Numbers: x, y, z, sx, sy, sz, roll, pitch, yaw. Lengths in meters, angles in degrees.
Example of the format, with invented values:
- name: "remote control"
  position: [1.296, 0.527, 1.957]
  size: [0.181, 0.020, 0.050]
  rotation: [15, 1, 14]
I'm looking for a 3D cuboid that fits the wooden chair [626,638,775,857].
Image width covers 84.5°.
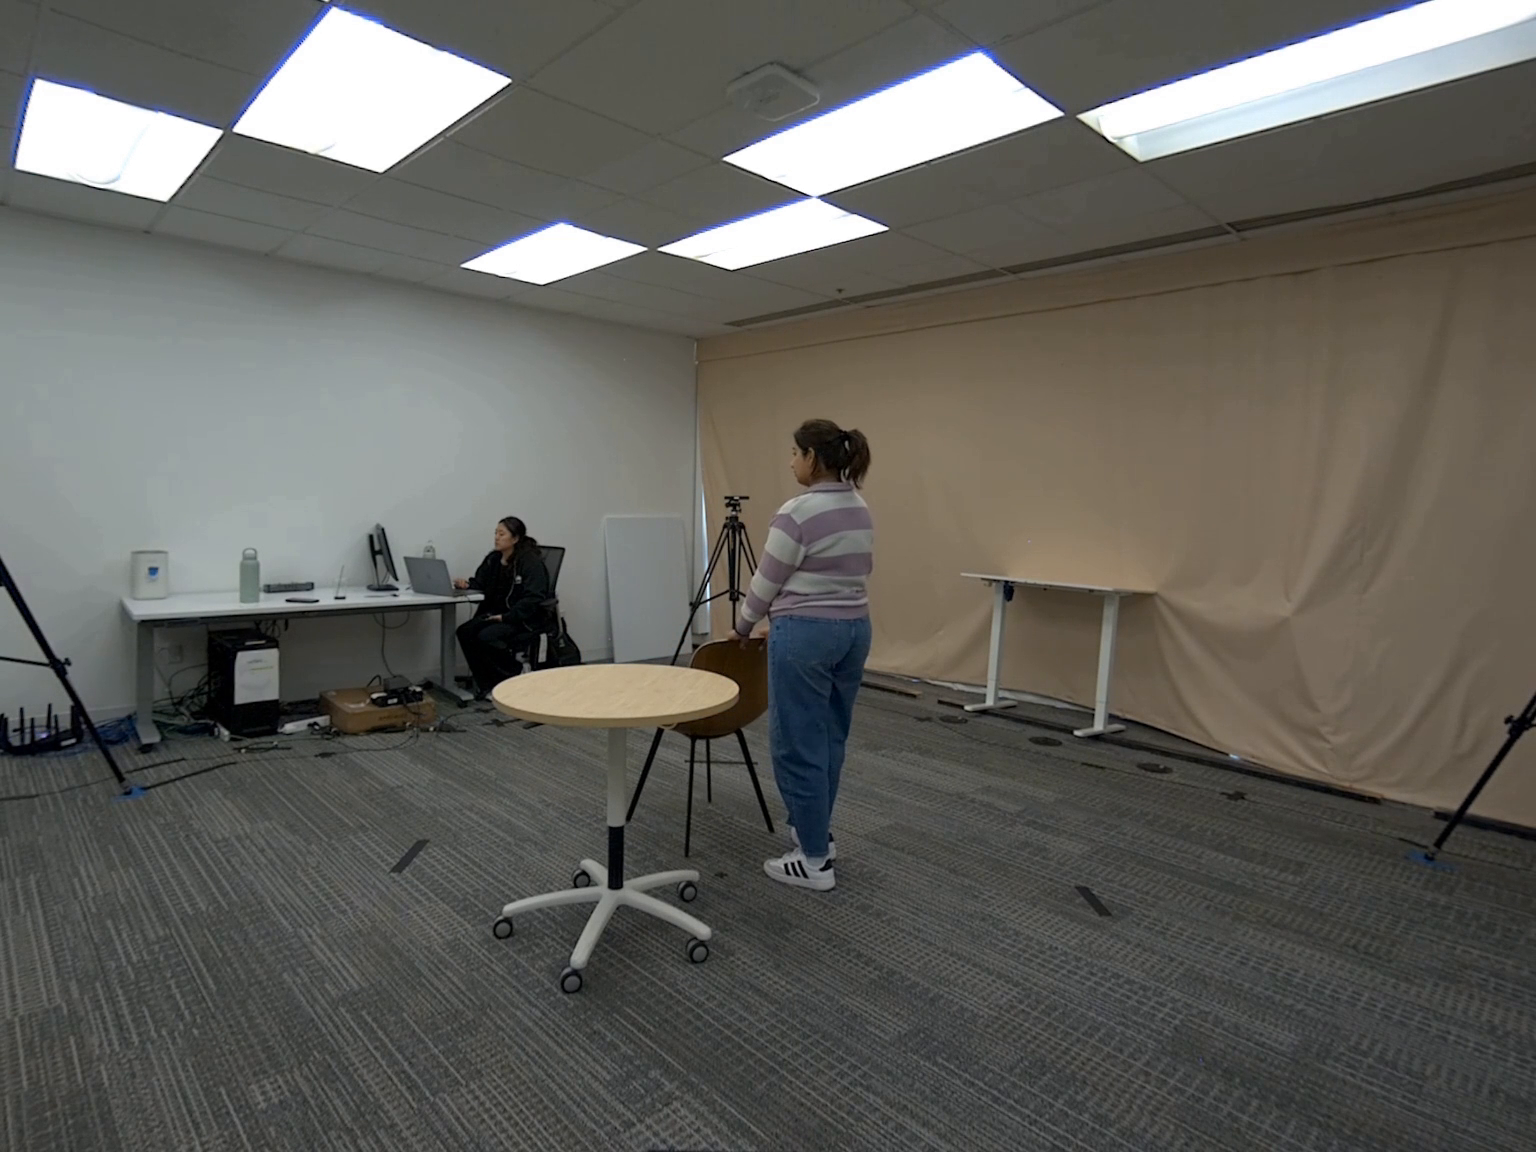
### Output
- name: "wooden chair"
  position: [-0.285, 0.633, 3.534]
  size: [0.467, 0.873, 0.537]
  rotation: [-2, 9, -39]
